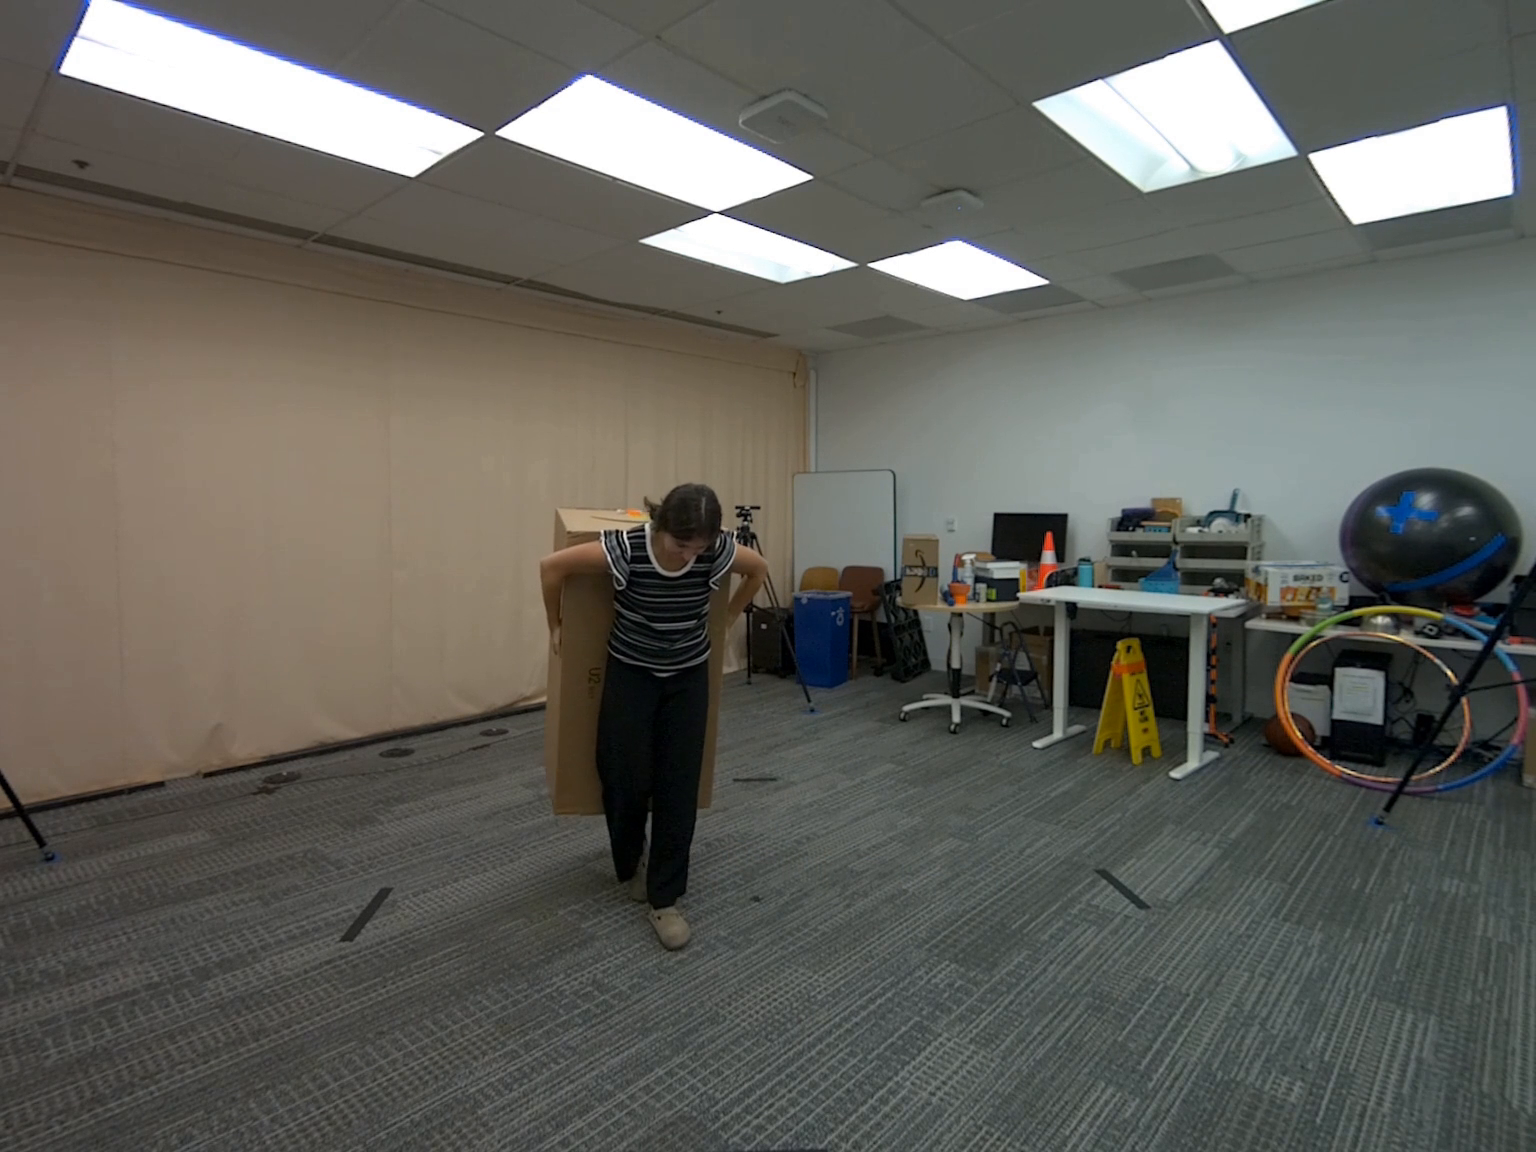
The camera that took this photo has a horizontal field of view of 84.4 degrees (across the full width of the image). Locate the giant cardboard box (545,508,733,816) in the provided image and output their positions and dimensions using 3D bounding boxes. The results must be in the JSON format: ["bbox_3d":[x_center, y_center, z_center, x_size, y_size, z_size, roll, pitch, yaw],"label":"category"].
[{"bbox_3d":[-0.500,0.302,3.097,0.567,1.019,0.437,1,12,-18],"label":"giant cardboard box"}]
